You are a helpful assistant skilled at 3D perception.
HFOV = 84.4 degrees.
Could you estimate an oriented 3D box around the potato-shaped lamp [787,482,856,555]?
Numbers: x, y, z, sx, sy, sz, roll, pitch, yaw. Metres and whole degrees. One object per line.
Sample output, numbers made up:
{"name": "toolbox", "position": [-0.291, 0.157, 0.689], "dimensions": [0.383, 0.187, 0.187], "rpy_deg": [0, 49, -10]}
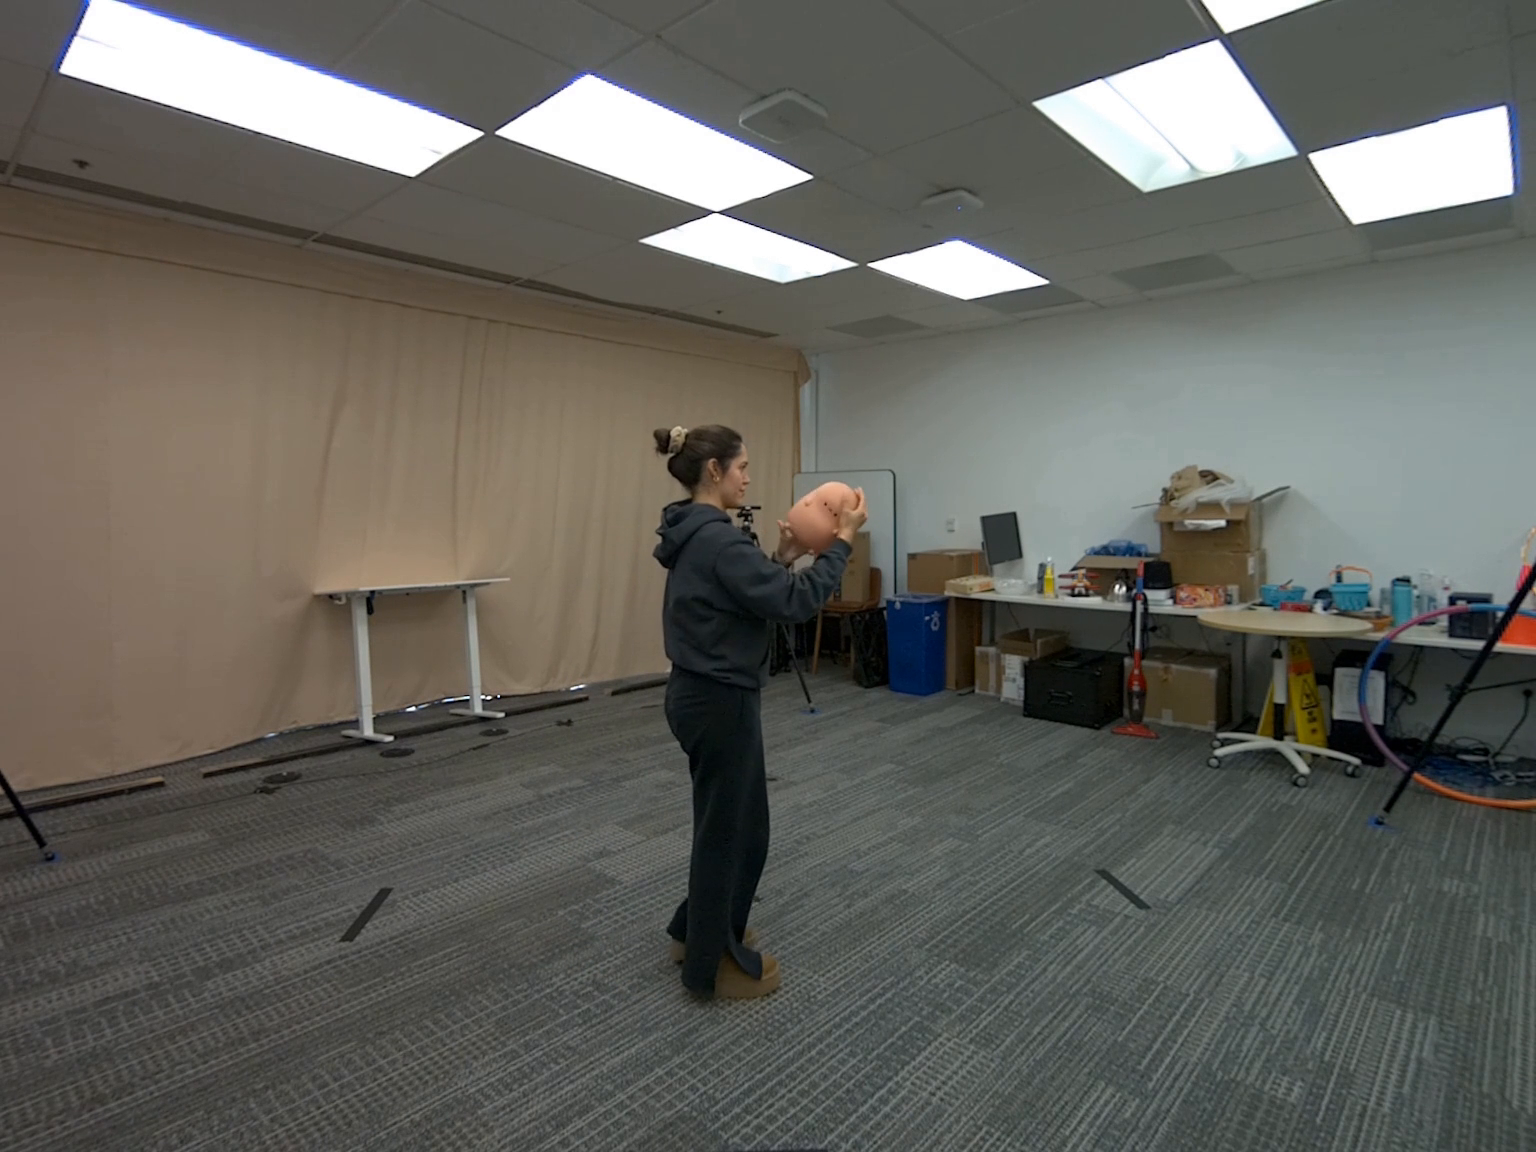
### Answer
{"name": "potato-shaped lamp", "position": [0.173, -0.171, 2.340], "dimensions": [0.200, 0.164, 0.171], "rpy_deg": [-43, 7, 26]}
